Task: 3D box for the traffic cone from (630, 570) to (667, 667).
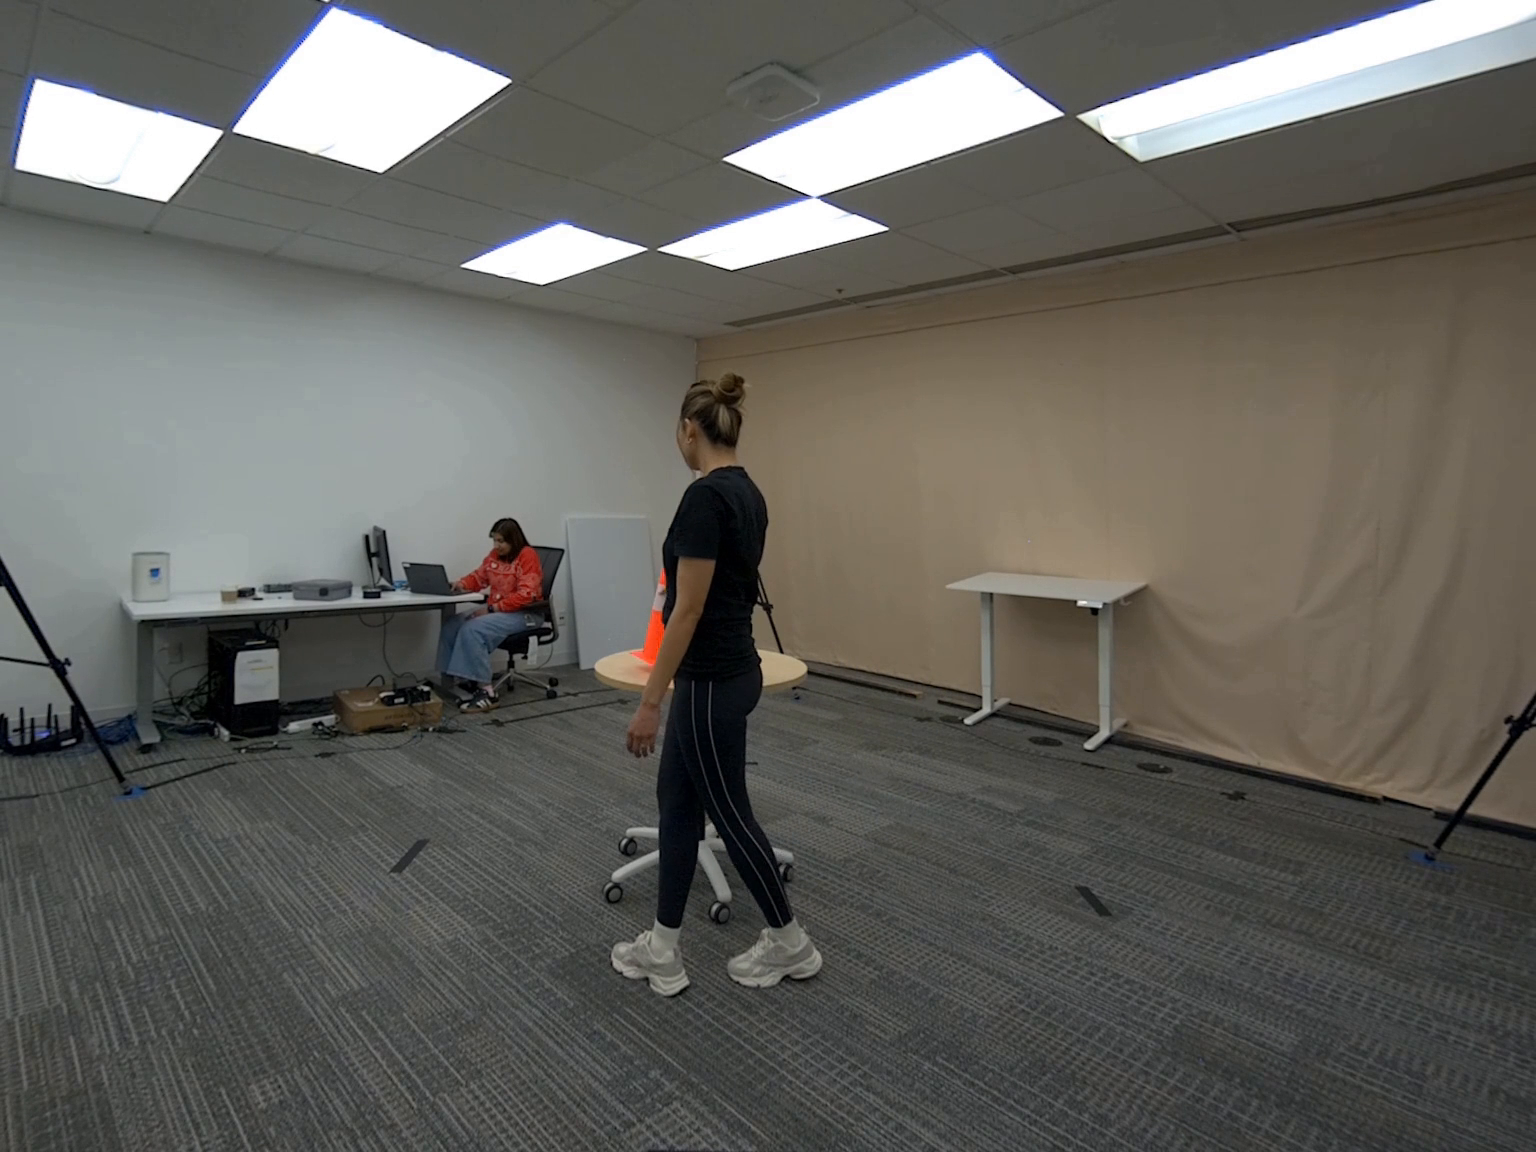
[{"bbox_3d":[-0.353,0.092,2.922,0.210,0.382,0.199,9,9,33],"label":"traffic cone"}]
